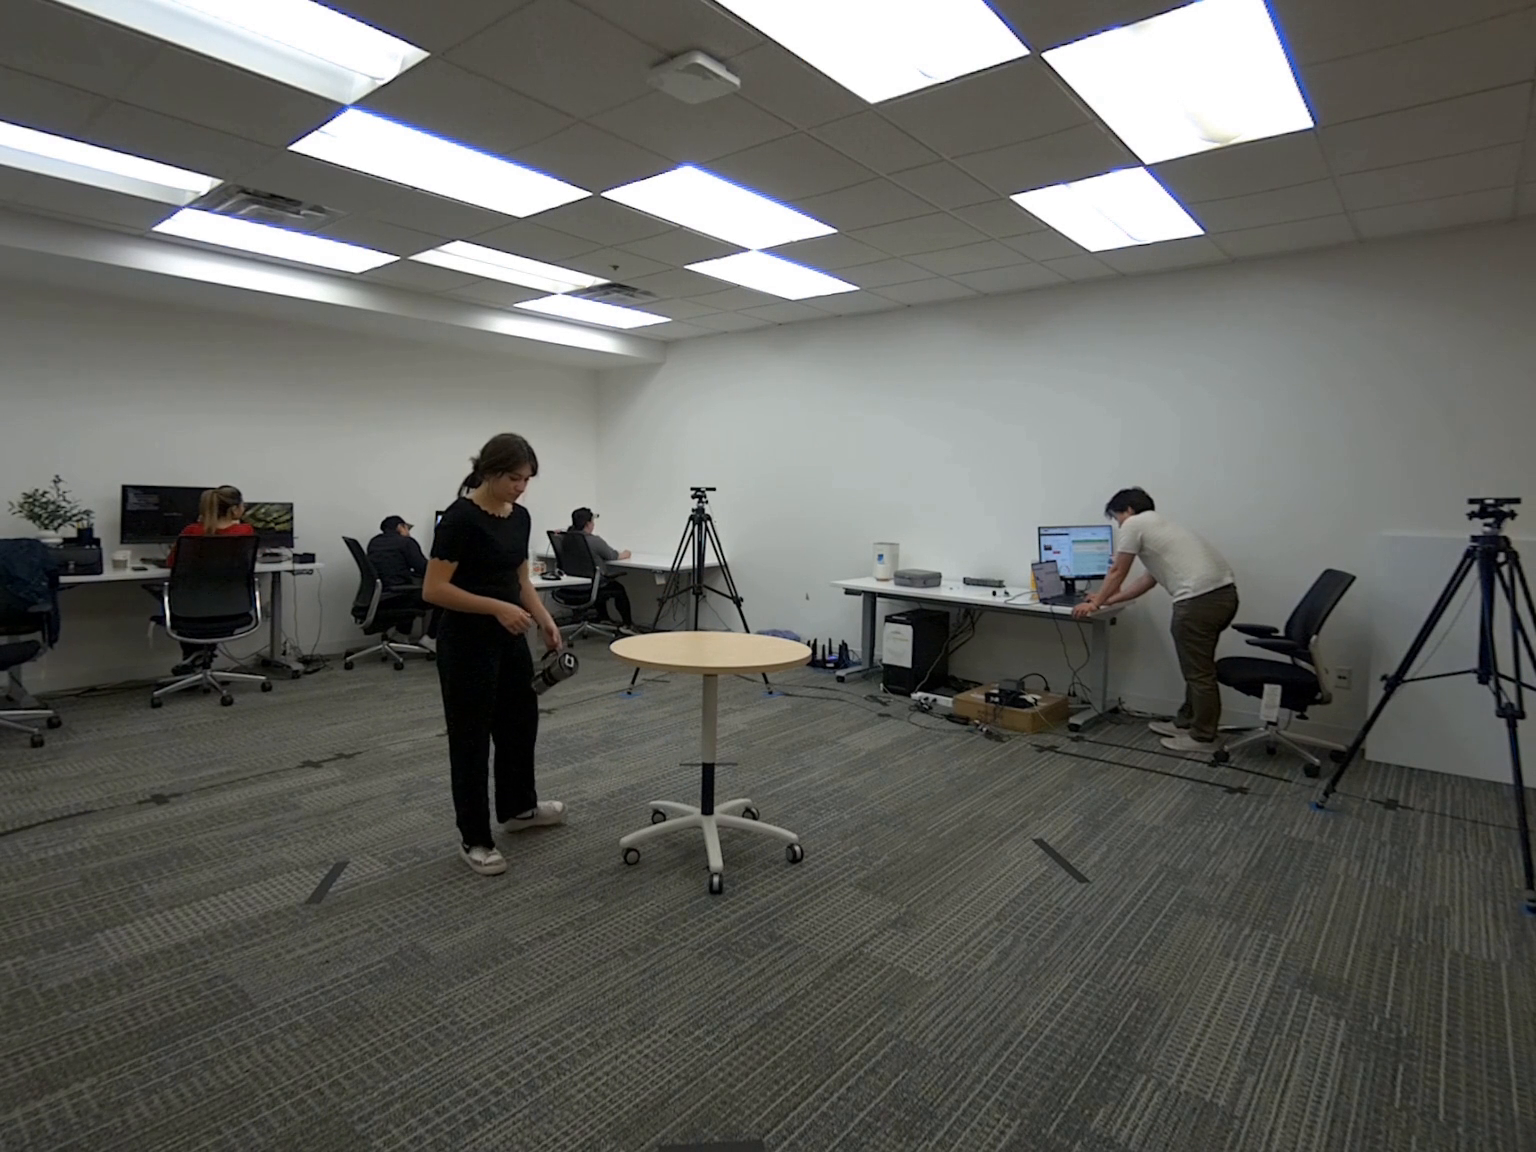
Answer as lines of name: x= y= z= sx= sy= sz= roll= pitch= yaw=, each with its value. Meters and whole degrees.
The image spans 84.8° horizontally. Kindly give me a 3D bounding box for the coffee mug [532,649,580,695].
coffee mug: x=-0.821 y=0.346 z=3.170 sx=0.204 sy=0.126 sz=0.084 roll=-35 pitch=-38 yaw=30
